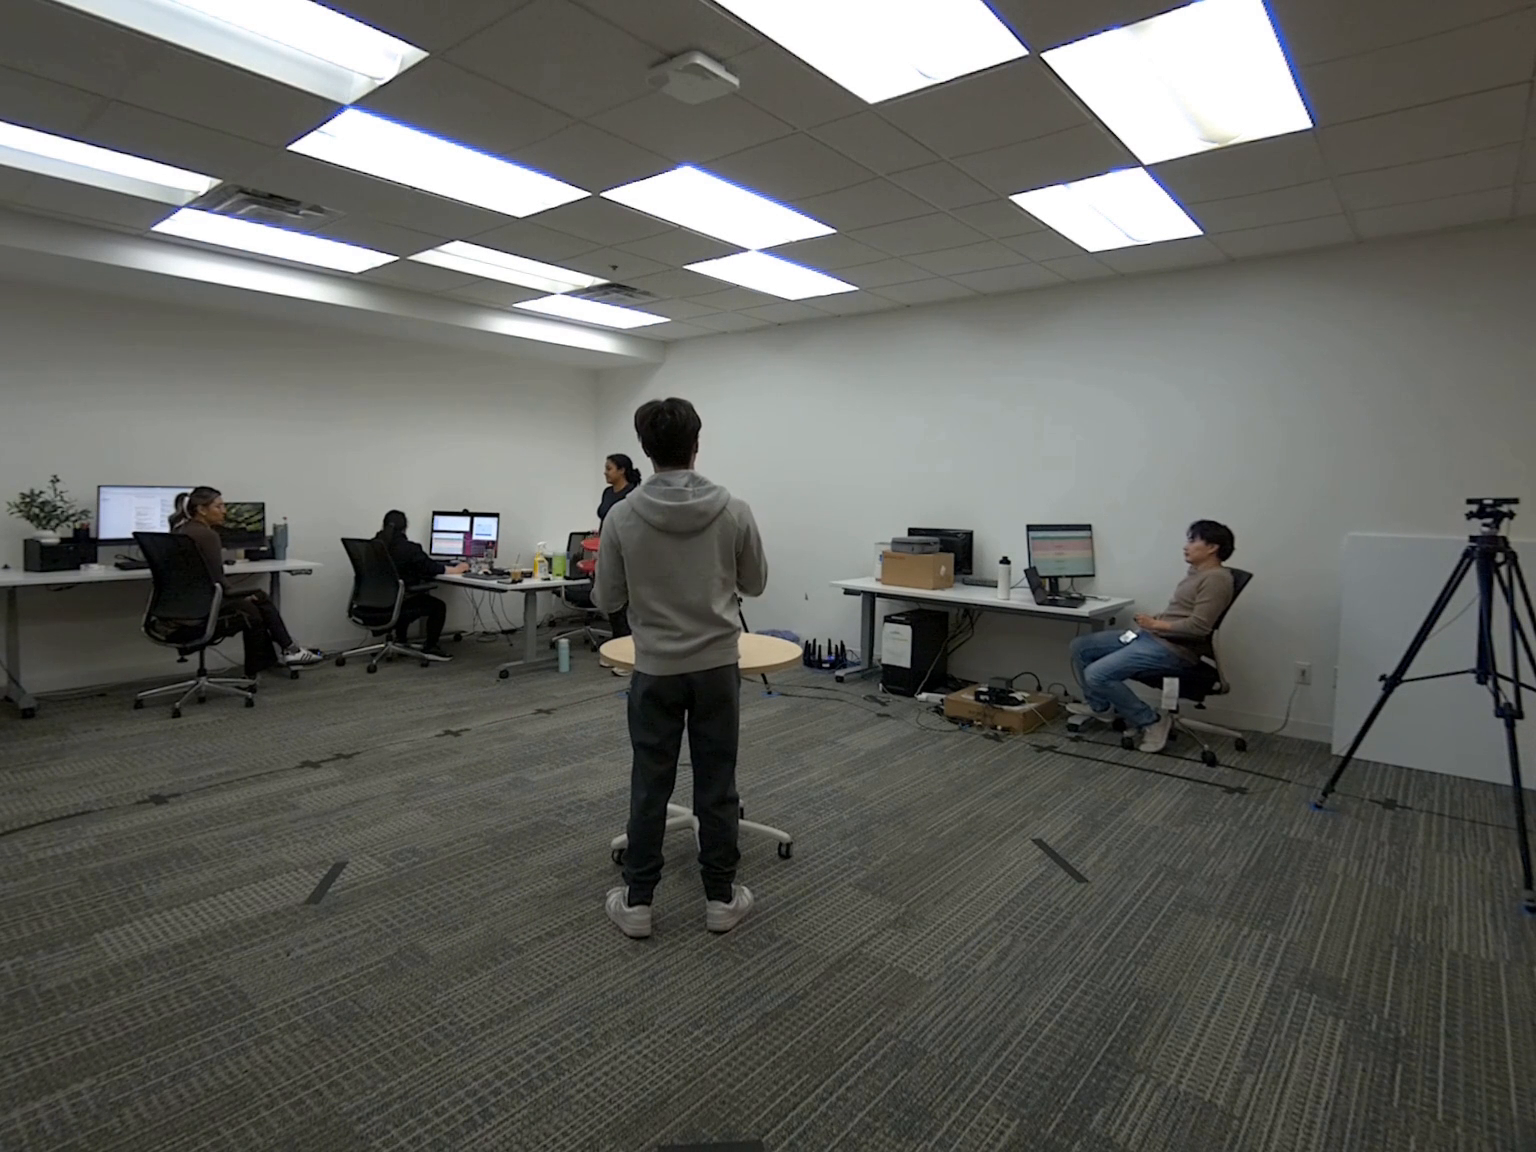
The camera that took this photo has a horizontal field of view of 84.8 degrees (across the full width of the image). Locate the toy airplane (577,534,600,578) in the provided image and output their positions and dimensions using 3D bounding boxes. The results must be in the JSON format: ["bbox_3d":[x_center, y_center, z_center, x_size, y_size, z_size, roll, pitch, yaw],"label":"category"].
[{"bbox_3d":[-0.534,-0.061,3.046,0.265,0.155,0.247,6,7,18],"label":"toy airplane"}]
